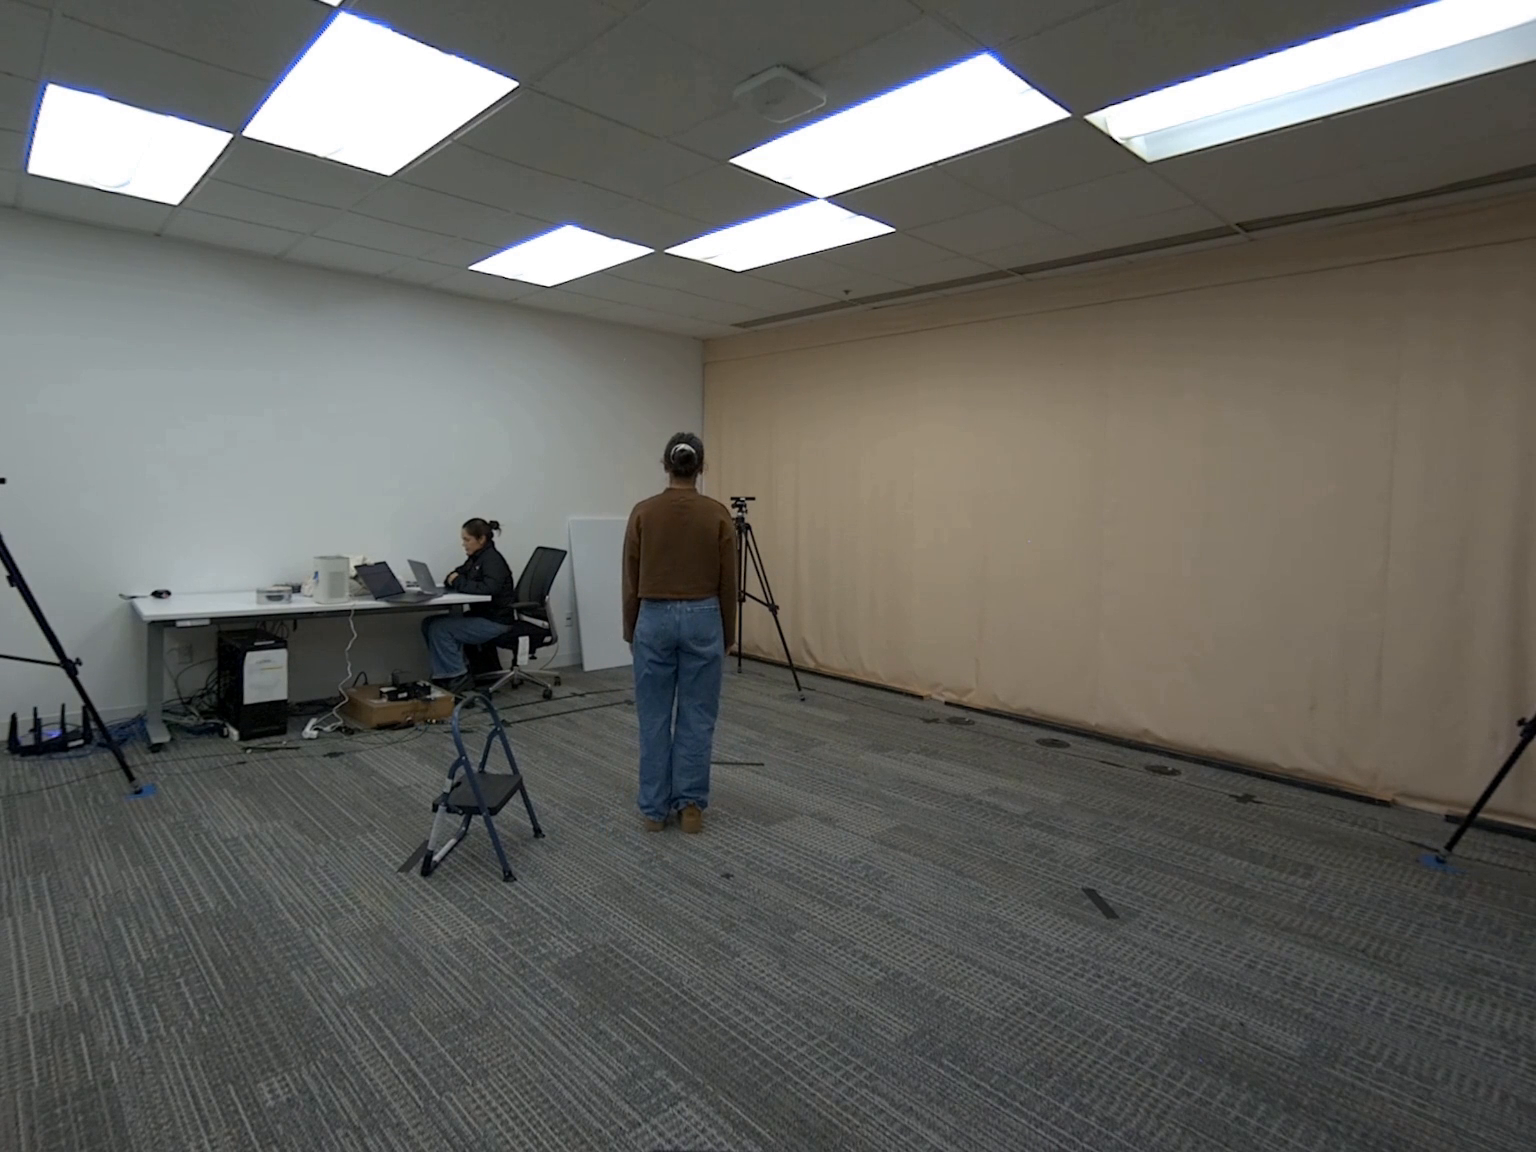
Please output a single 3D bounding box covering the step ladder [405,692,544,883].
[{"bbox_3d":[-1.088,0.774,3.220,0.350,0.604,0.431,2,4,0],"label":"step ladder"}]
